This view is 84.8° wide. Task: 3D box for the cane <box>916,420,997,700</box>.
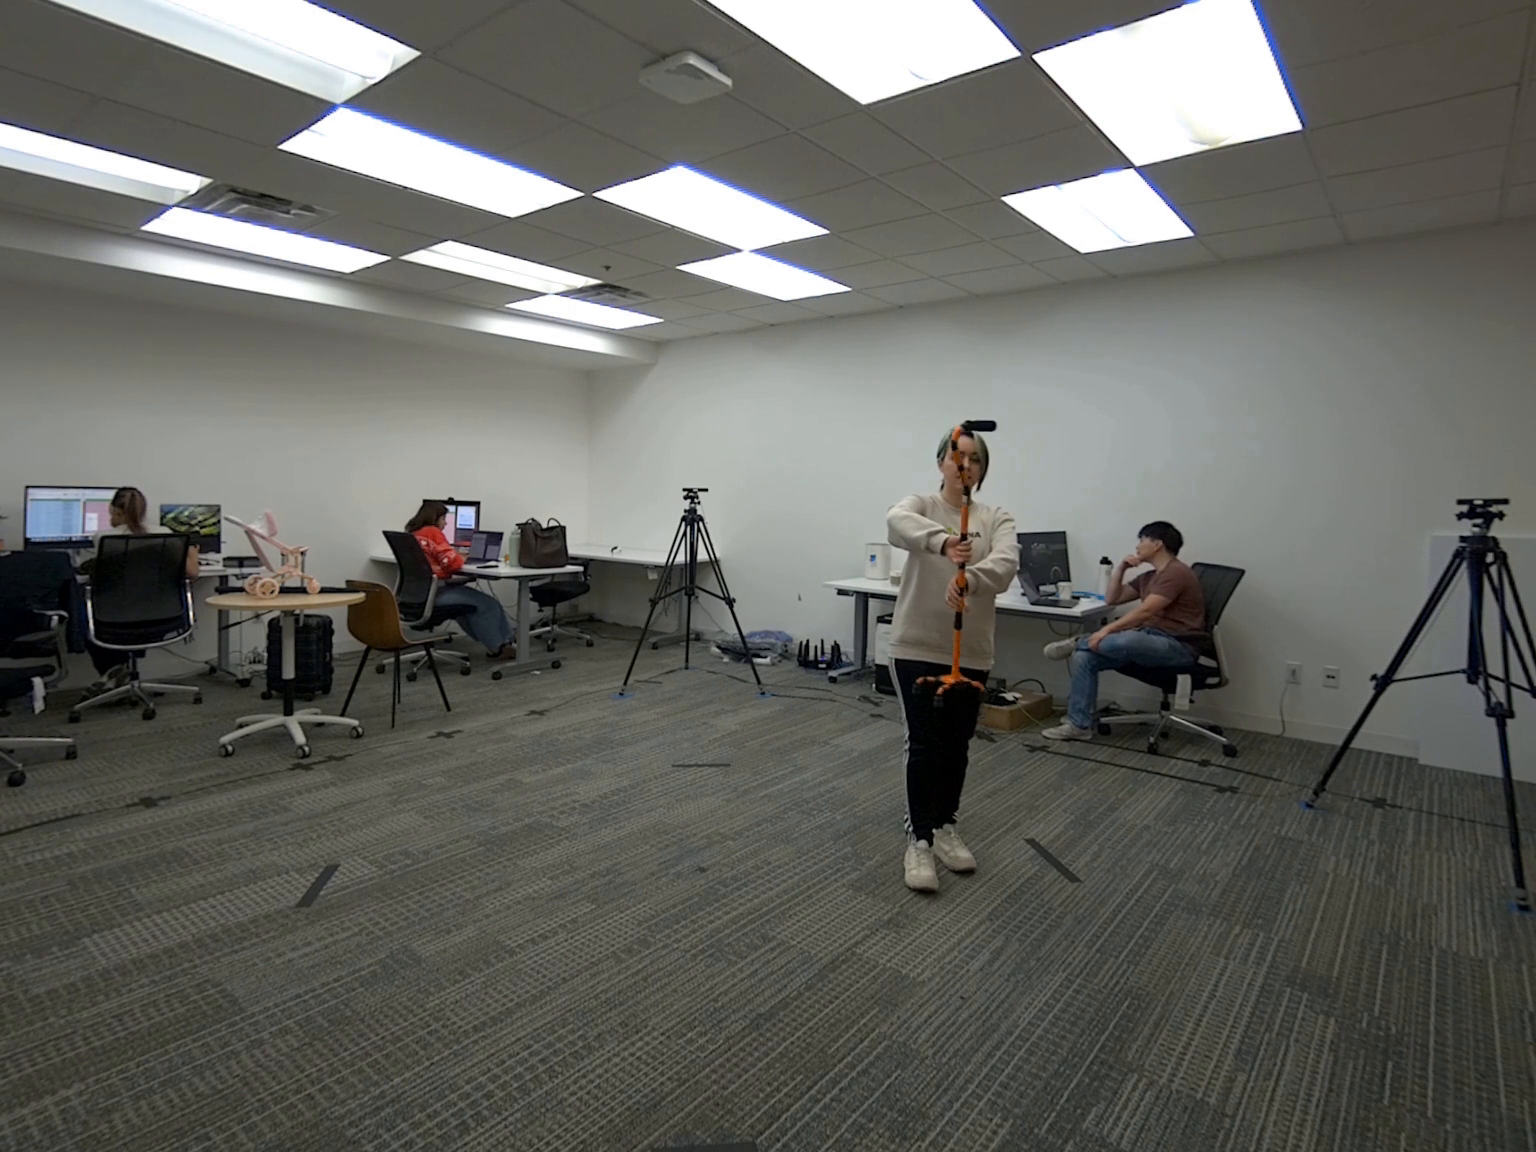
[{"bbox_3d":[0.619,-0.048,2.755,0.202,0.900,0.156,-2,10,-24],"label":"cane"}]
